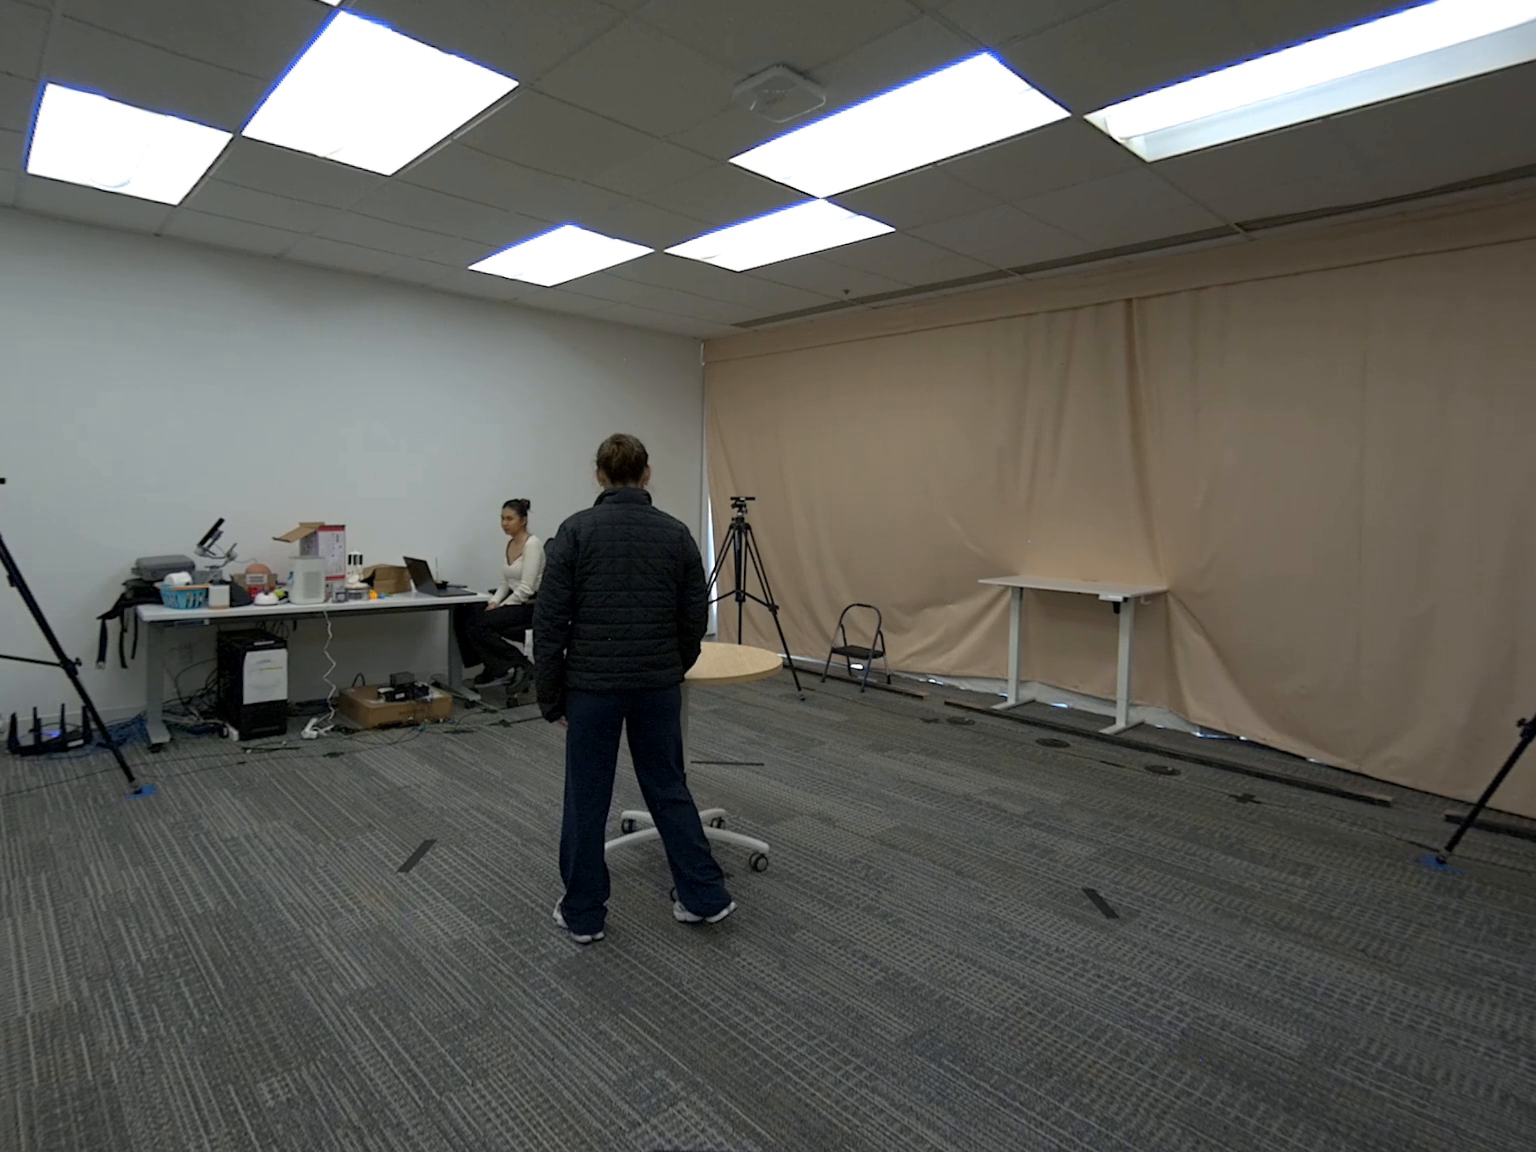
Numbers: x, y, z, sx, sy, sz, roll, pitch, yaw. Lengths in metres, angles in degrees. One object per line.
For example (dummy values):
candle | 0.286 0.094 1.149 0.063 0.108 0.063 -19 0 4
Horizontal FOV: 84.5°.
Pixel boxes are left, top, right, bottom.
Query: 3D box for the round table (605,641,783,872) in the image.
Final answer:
round table | -0.331 0.702 3.216 0.784 0.784 0.788 1 4 -1
